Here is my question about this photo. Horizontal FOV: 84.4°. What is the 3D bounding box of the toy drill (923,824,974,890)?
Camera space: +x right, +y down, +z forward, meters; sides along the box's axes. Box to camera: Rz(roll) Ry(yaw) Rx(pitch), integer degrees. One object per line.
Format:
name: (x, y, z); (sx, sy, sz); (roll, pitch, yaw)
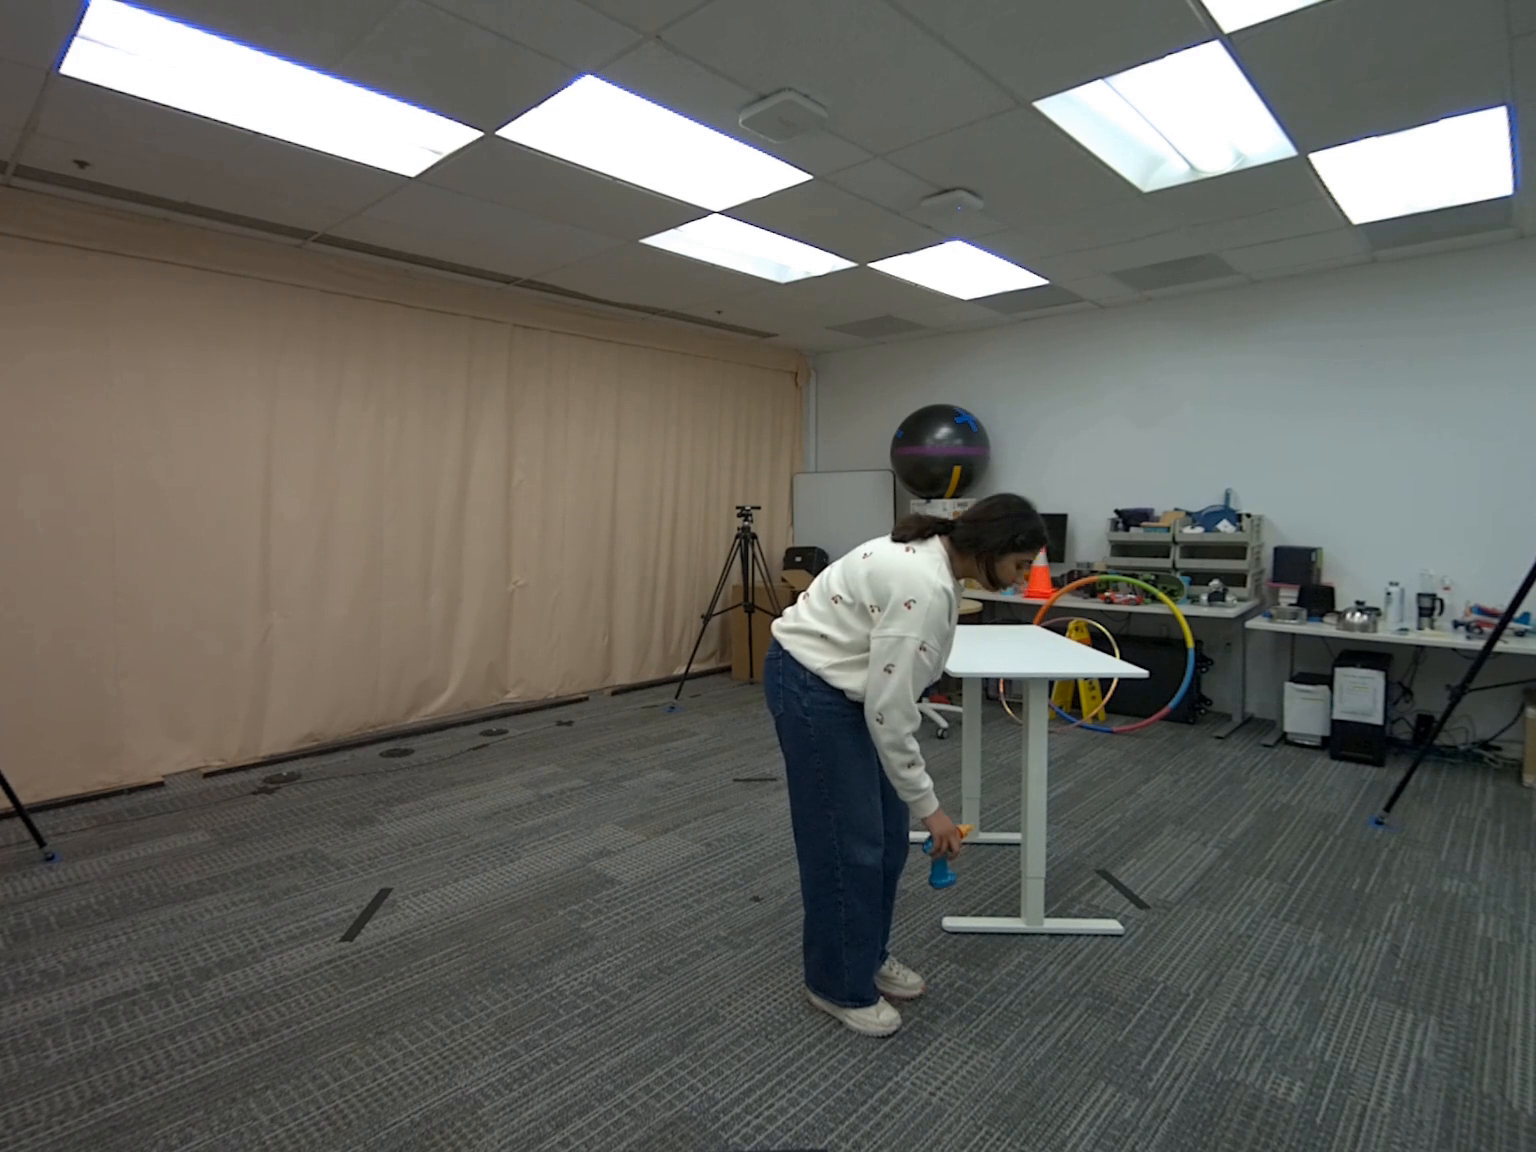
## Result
toy drill: (0.474, 0.705, 2.154); (0.167, 0.144, 0.063); (-15, 15, -19)
